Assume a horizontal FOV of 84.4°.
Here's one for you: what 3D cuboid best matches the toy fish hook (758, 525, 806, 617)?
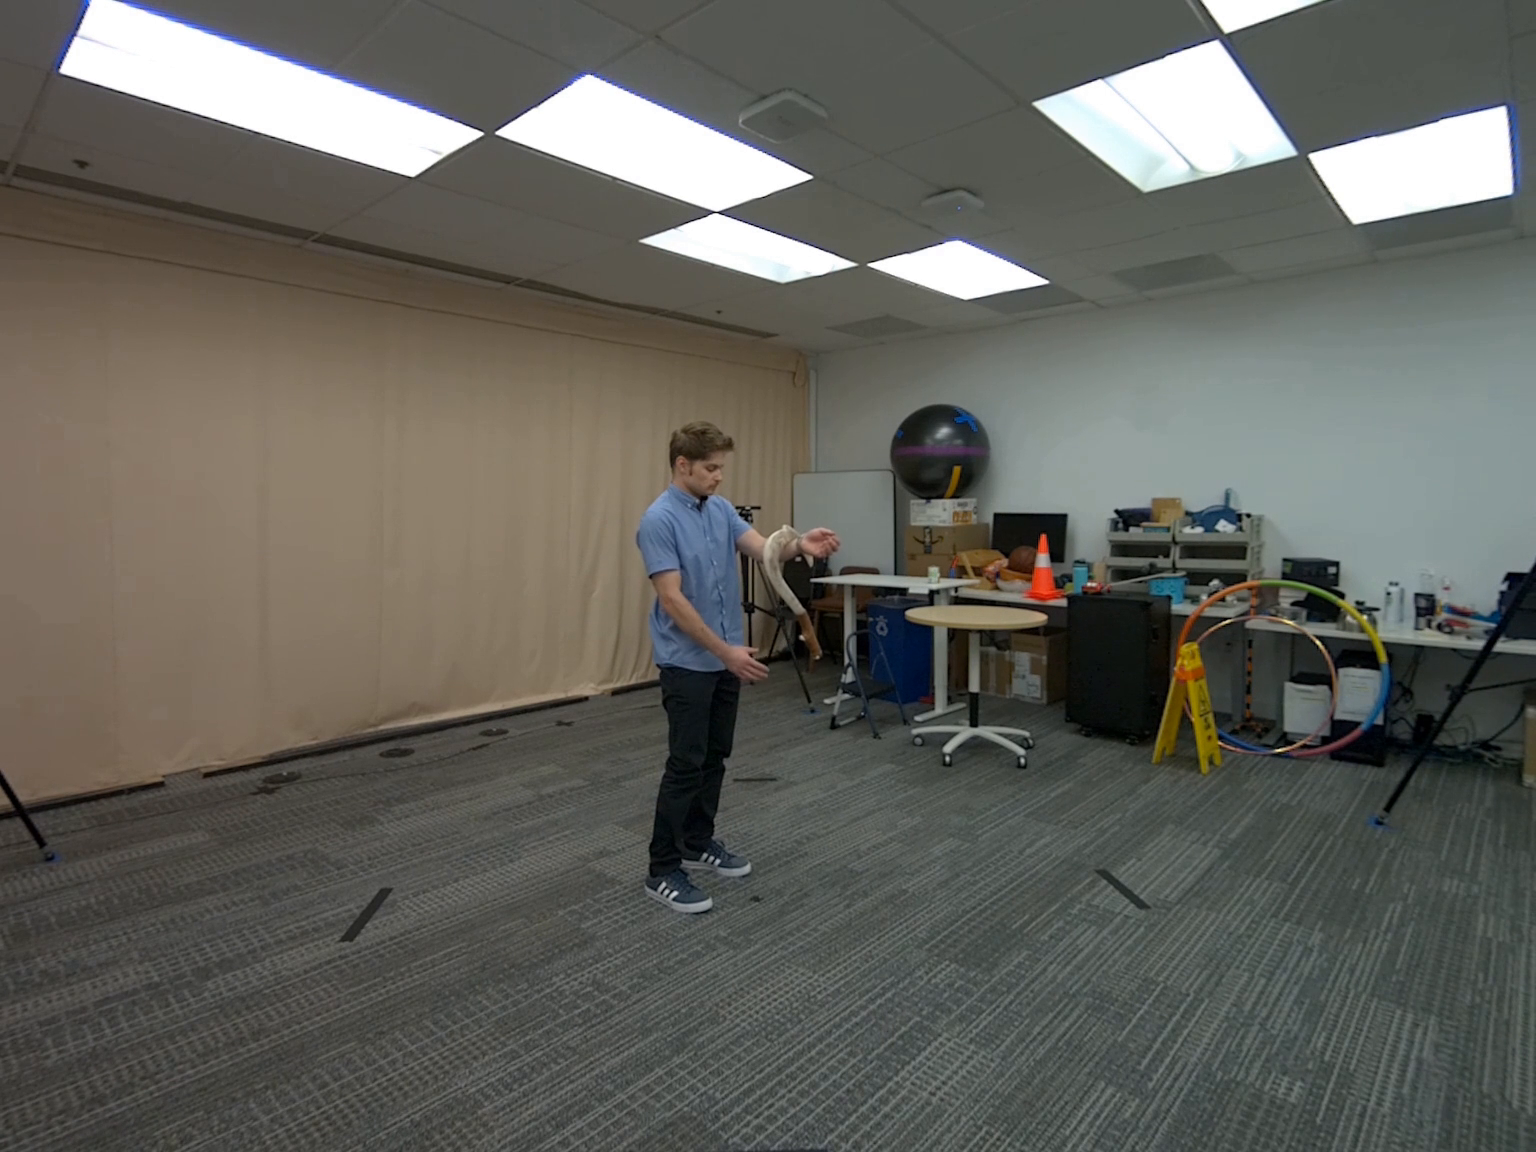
[{"bbox_3d":[0.130,0.061,3.034,0.221,0.497,0.050,-34,22,-29],"label":"toy fish hook"}]
